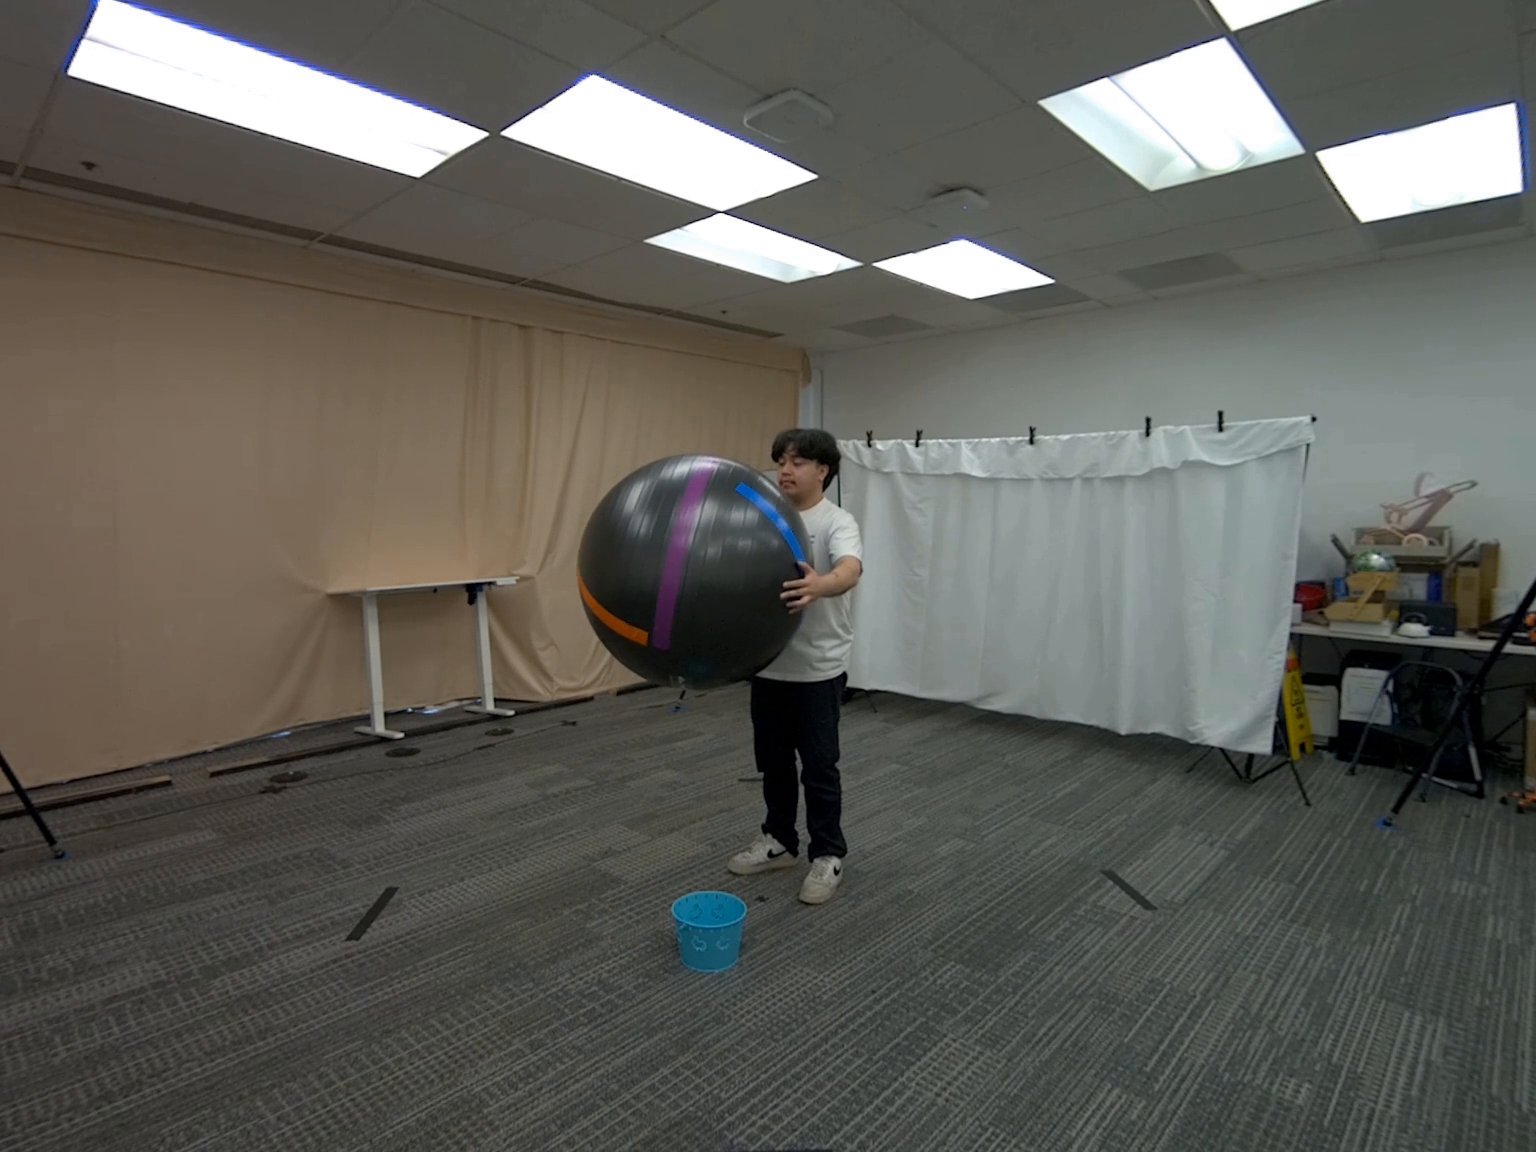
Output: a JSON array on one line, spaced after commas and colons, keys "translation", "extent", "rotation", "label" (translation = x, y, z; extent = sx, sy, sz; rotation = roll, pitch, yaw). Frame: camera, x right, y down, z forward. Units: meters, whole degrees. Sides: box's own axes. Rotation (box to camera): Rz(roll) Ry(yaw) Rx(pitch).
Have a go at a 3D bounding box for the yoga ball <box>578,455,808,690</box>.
[{"translation": [-0.237, -0.007, 2.715], "extent": [0.757, 0.756, 0.760], "rotation": [0, 4, -2], "label": "yoga ball"}]
